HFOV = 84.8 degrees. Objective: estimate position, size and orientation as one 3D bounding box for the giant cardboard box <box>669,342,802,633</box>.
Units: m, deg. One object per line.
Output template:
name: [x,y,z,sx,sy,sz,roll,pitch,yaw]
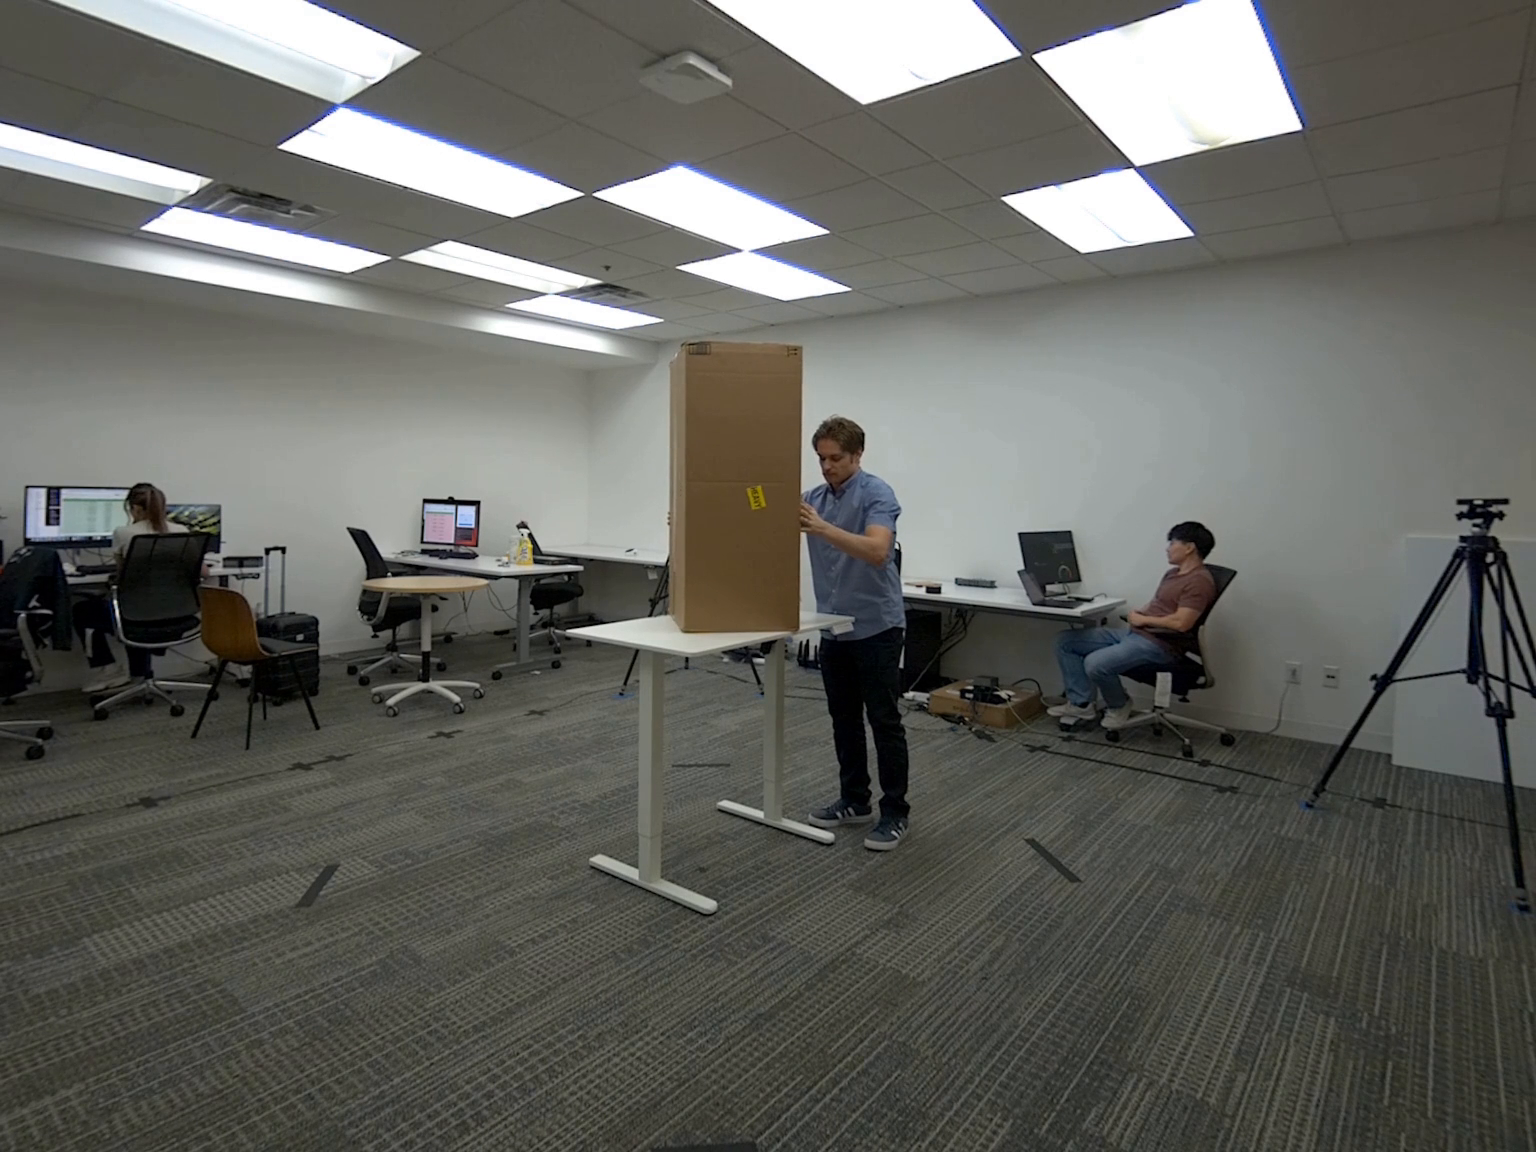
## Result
giant cardboard box: [-0.153,-0.339,3.276,0.422,1.023,0.585,0,3,-11]
